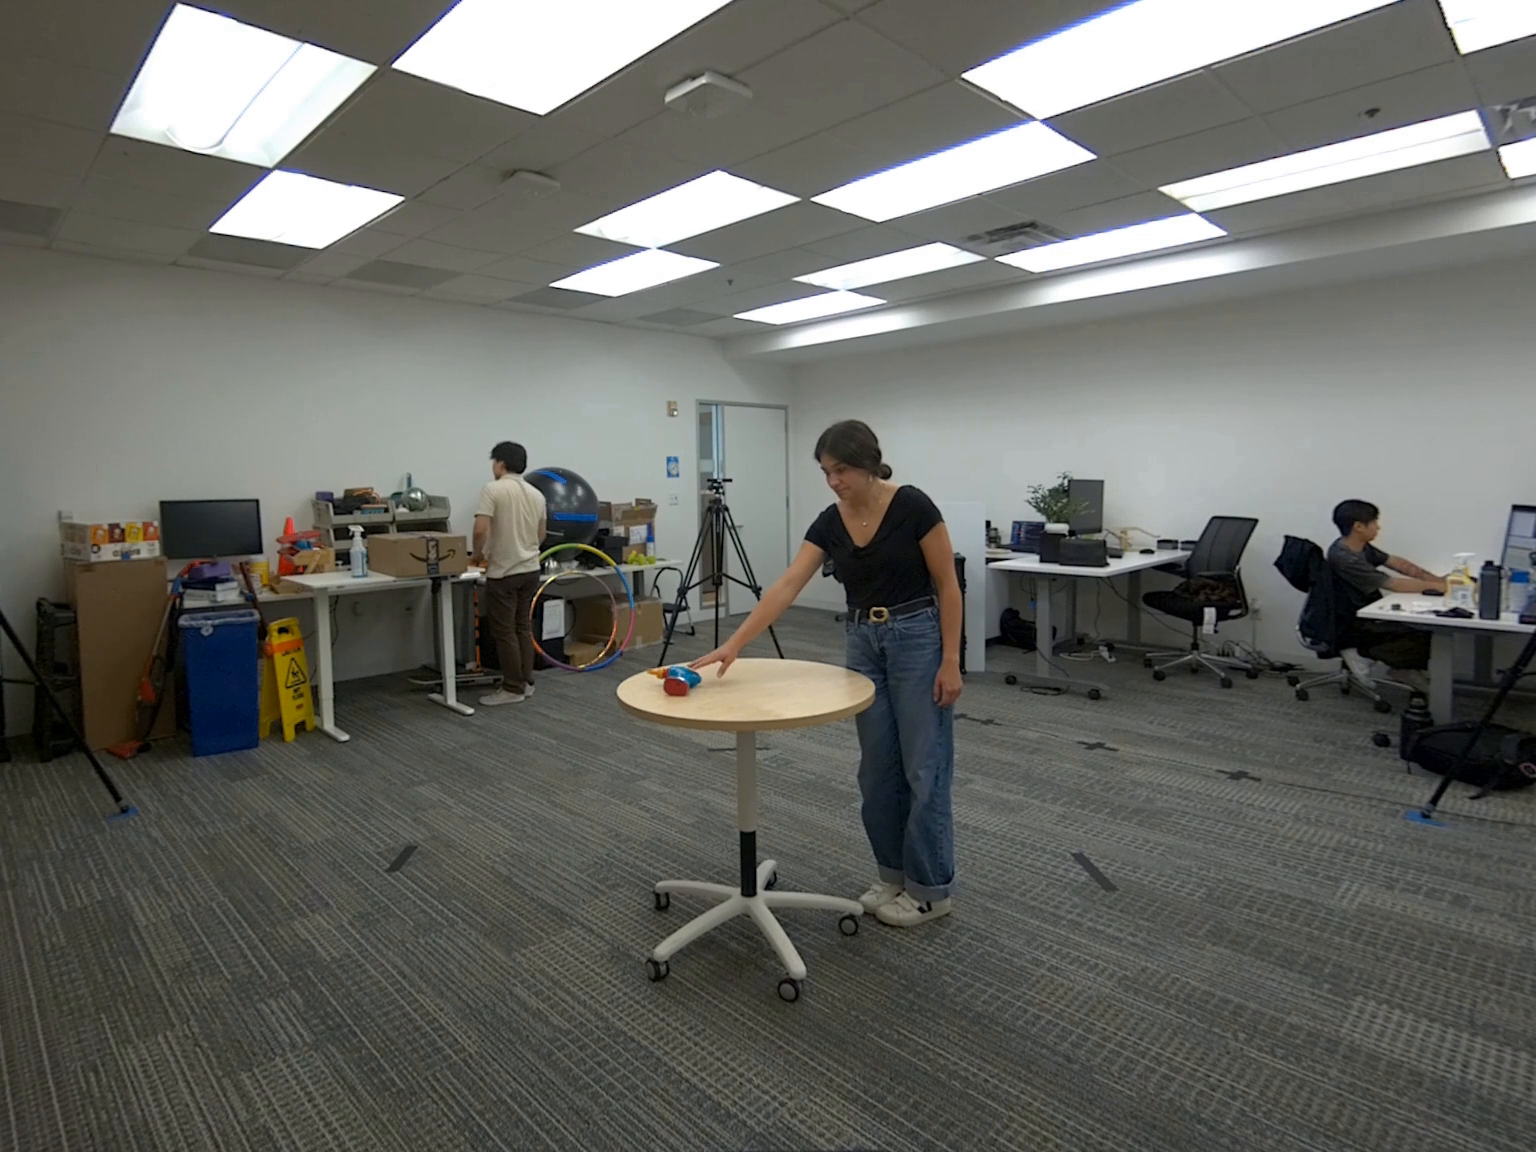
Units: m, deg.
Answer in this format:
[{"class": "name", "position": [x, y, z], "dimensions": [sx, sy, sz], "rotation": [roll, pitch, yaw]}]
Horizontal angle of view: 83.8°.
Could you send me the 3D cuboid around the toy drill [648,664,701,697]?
[{"class": "toy drill", "position": [-0.280, 0.304, 2.515], "dimensions": [0.172, 0.061, 0.145], "rotation": [9, 8, 11]}]
